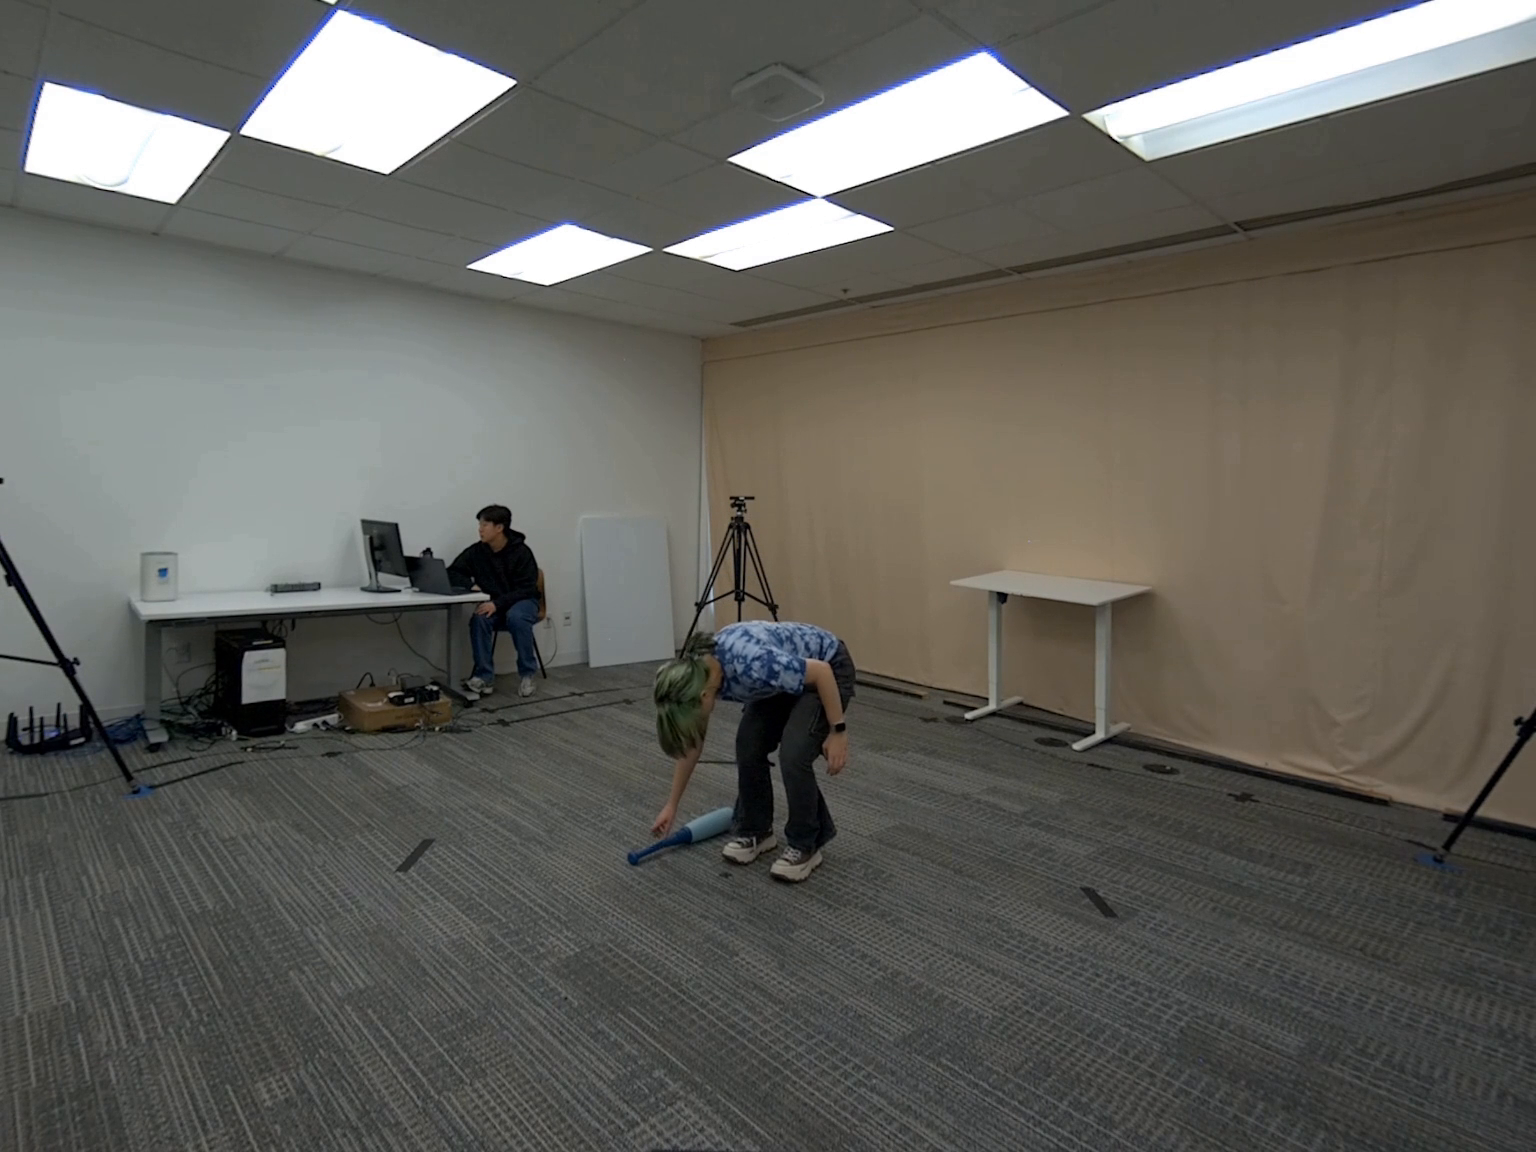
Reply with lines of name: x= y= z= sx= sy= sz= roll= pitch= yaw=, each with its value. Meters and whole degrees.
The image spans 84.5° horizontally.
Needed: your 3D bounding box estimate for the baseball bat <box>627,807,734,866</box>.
baseball bat: x=-0.340 y=1.038 z=3.359 sx=0.091 sy=0.088 sz=0.532 roll=5 pitch=10 yaw=43
